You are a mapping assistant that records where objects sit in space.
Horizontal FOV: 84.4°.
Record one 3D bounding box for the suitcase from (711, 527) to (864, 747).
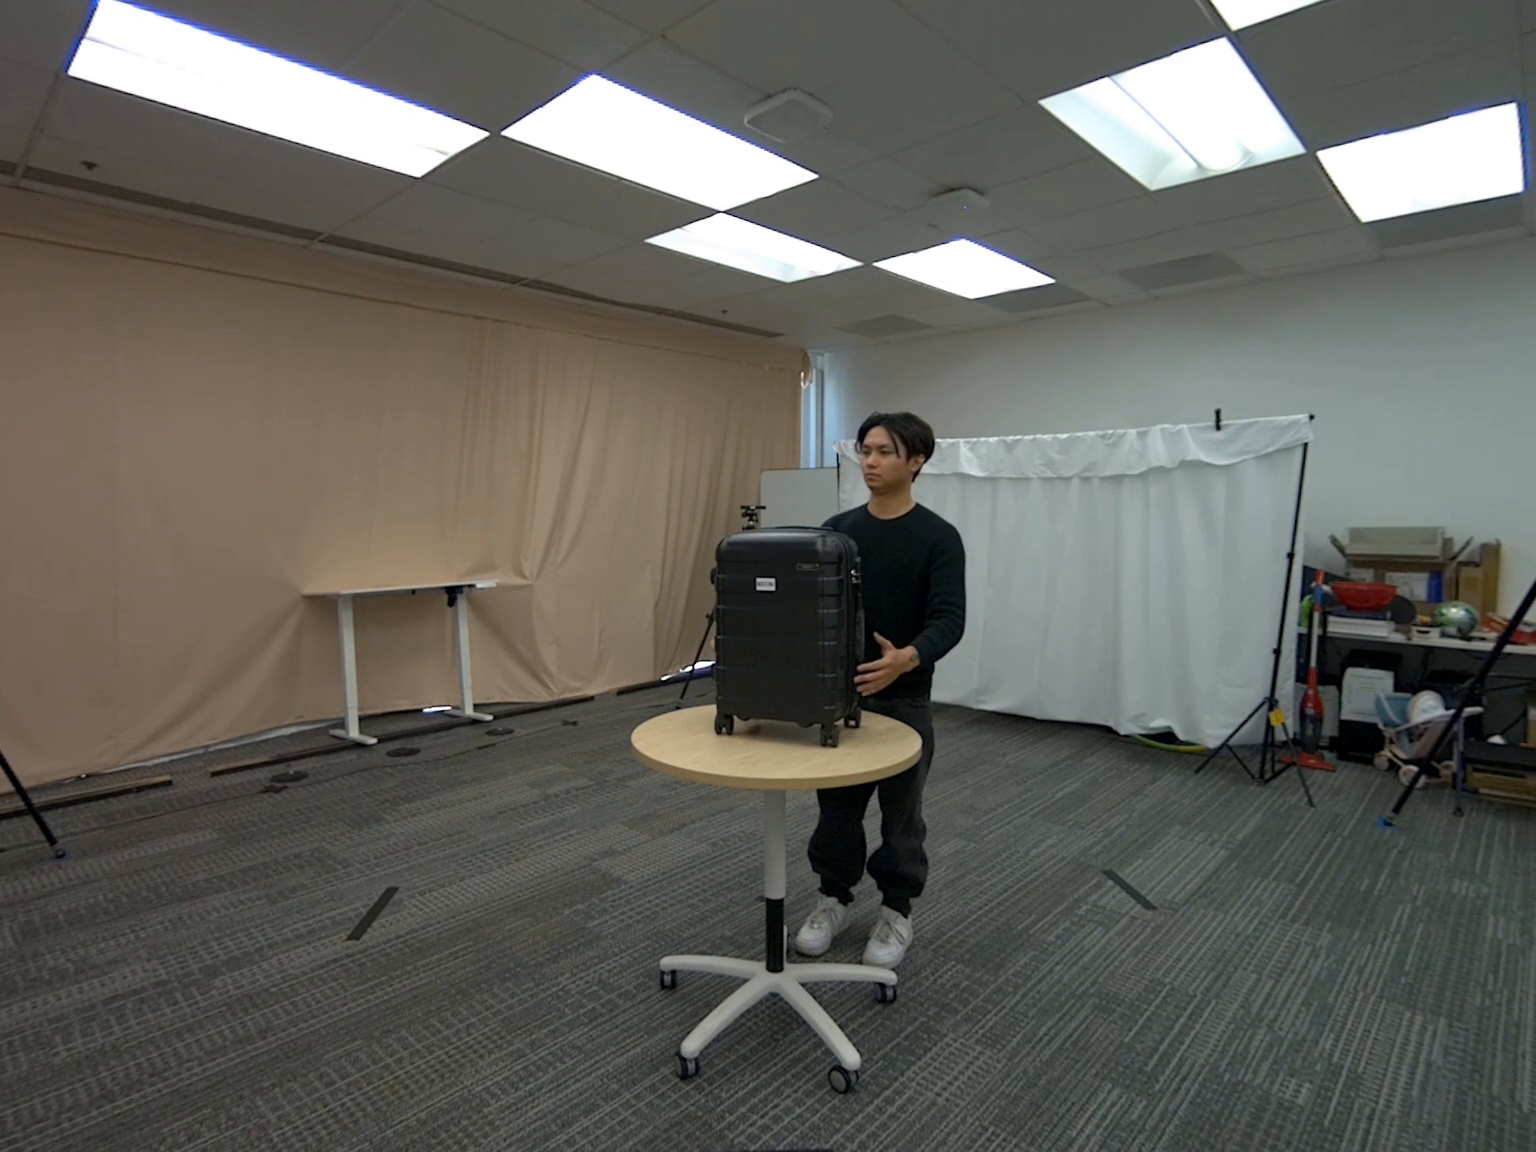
[{"bbox_3d":[0.057,0.145,2.250,0.385,0.548,0.242,2,4,25],"label":"suitcase"}]
